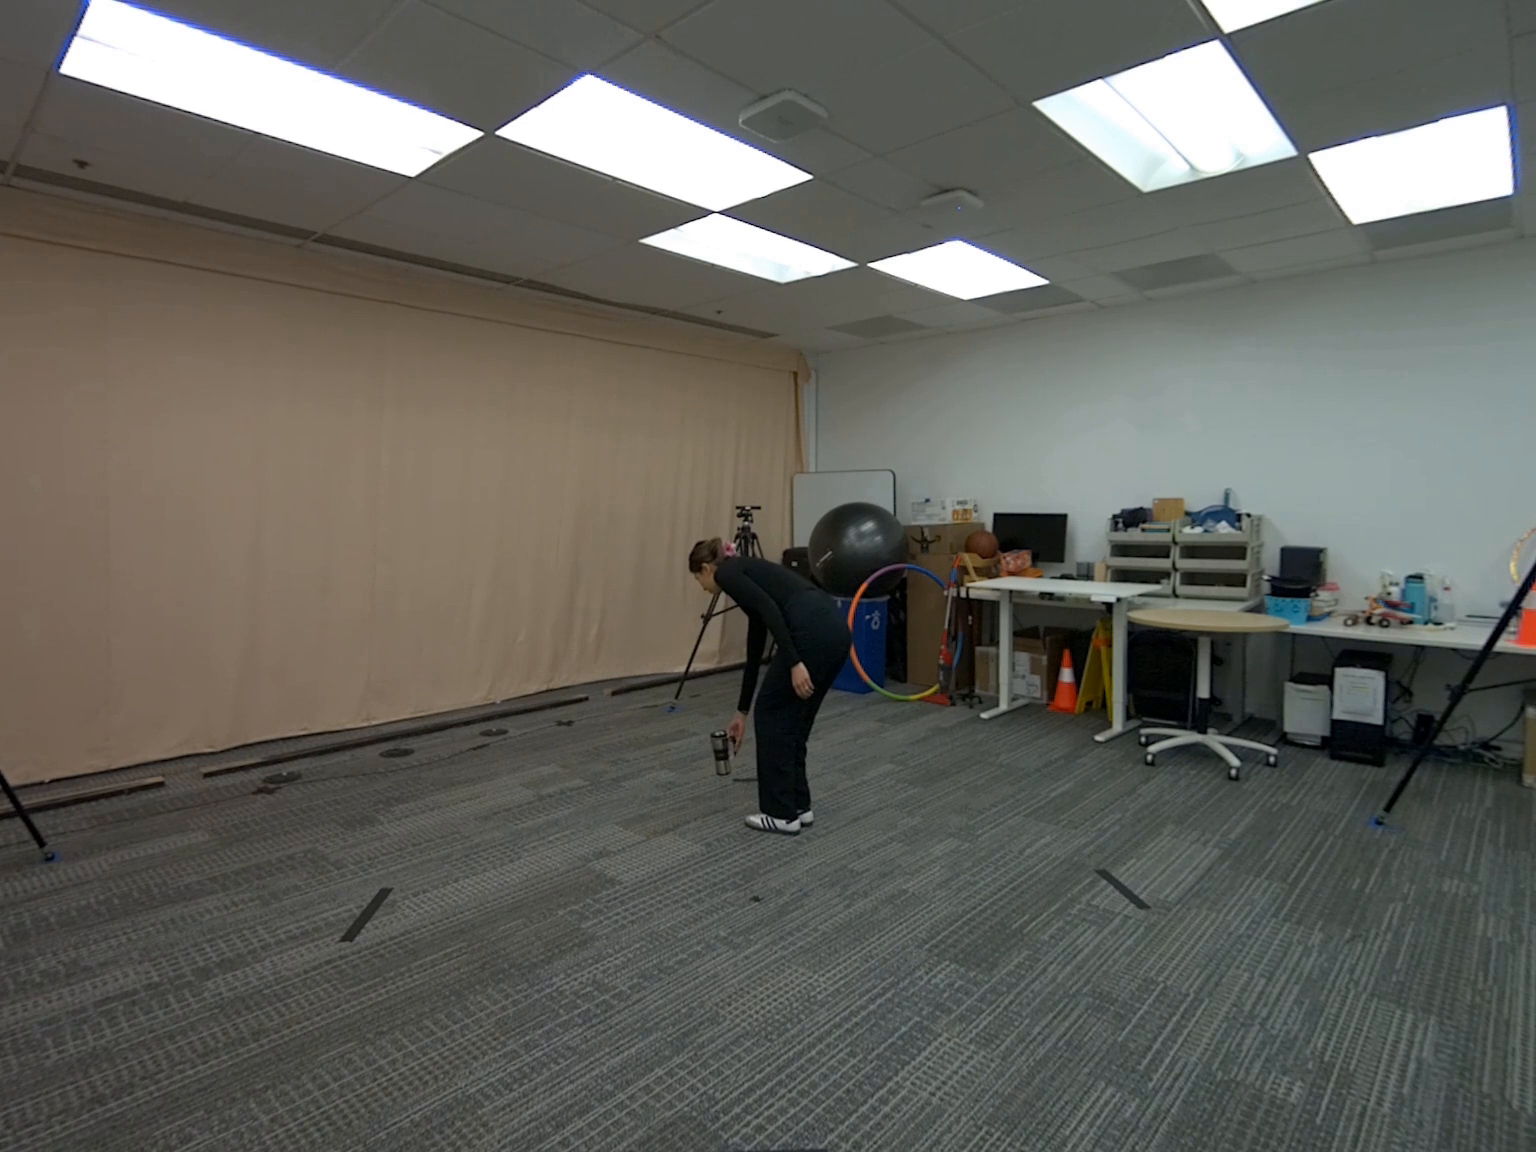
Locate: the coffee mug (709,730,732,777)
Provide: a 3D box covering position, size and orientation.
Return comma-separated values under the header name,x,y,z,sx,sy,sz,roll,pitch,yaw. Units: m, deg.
name,x,y,z,sx,sy,sz,roll,pitch,yaw
coffee mug,-0.203,0.836,3.967,0.085,0.203,0.125,-6,0,-42
